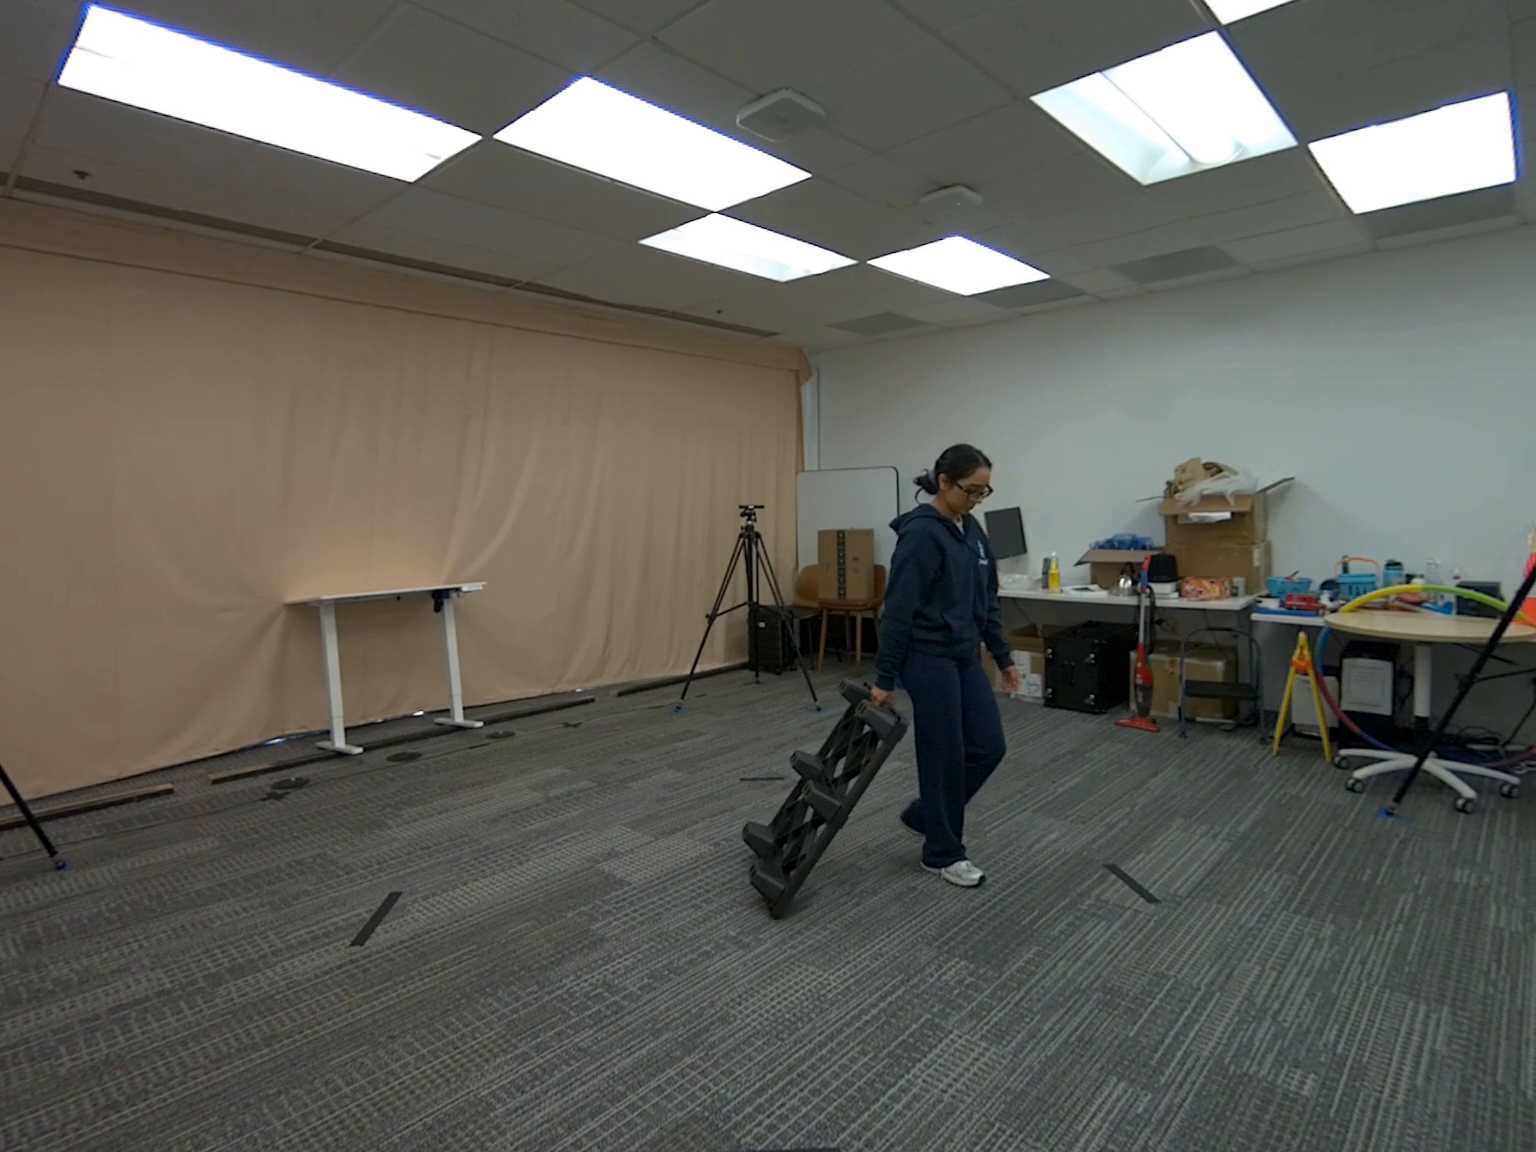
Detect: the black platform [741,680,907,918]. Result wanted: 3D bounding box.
[{"bbox_3d":[0.176,0.766,3.096,0.142,0.805,0.608,34,1,-6],"label":"black platform"}]
